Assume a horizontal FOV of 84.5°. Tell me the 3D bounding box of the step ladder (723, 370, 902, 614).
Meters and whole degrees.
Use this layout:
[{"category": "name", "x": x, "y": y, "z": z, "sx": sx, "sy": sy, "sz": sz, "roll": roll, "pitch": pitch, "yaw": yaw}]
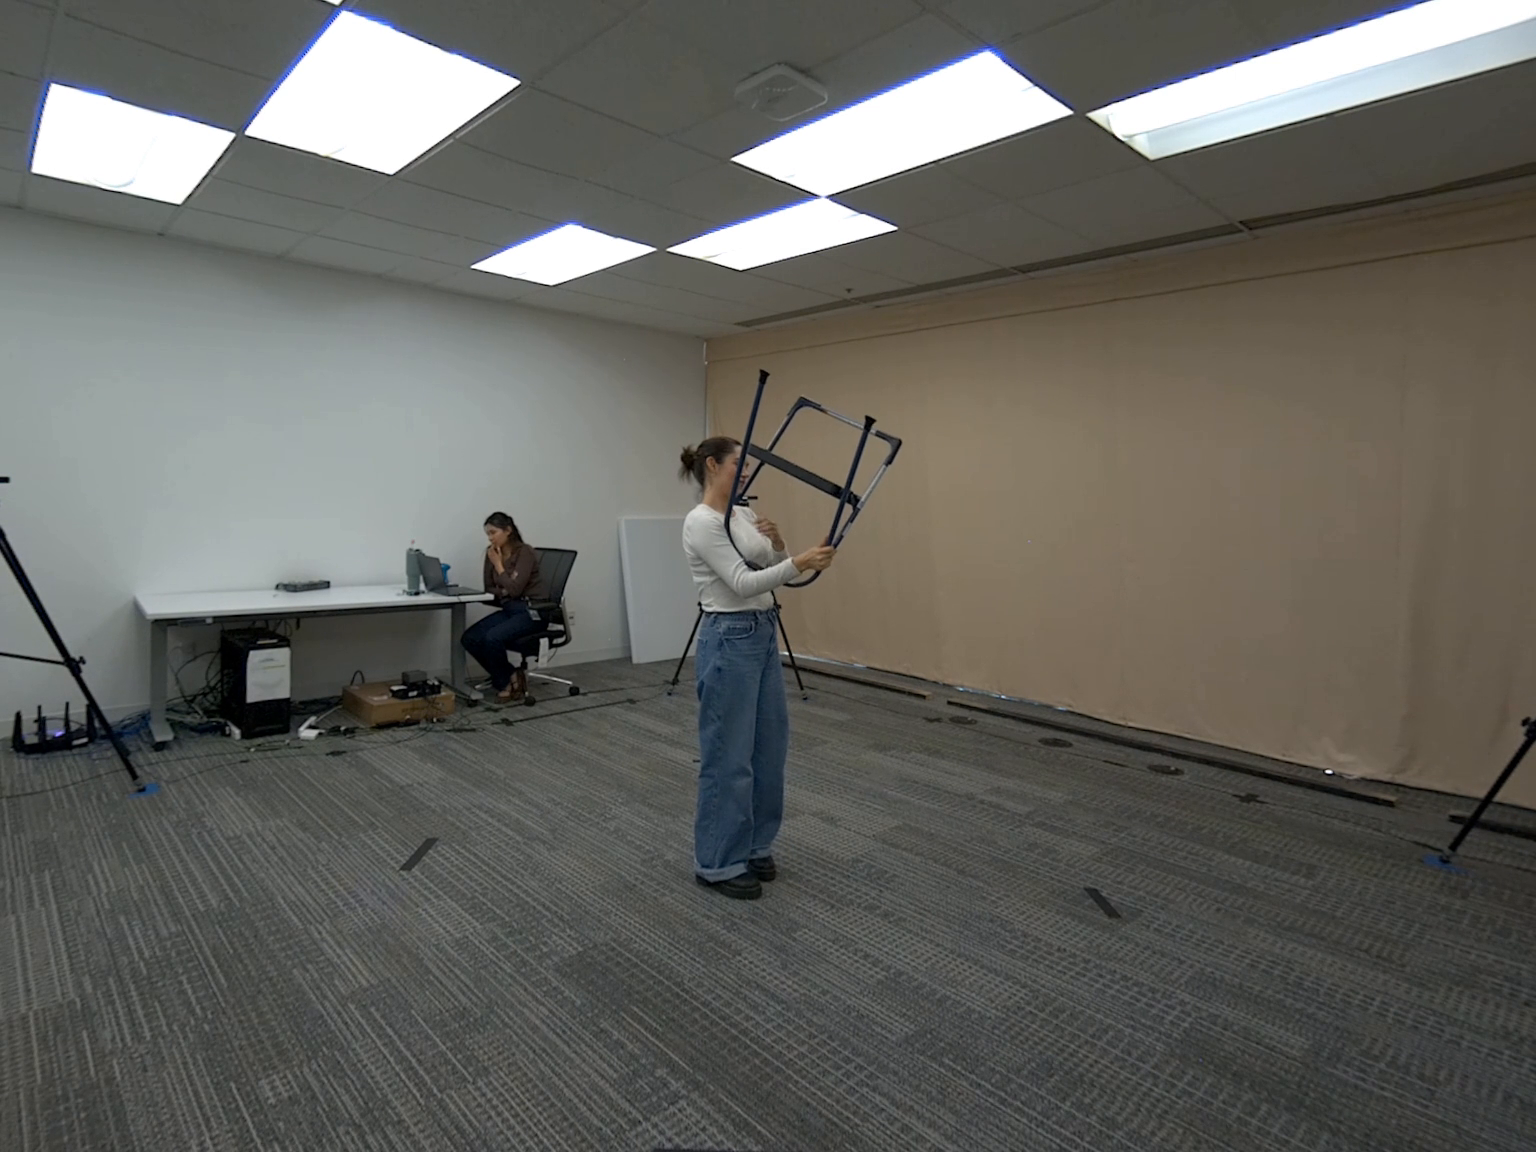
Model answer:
[{"category": "step ladder", "x": 0.080, "y": -0.280, "z": 2.742, "sx": 0.442, "sy": 0.604, "sz": 0.341, "roll": 31, "pitch": 9, "yaw": 27}]
